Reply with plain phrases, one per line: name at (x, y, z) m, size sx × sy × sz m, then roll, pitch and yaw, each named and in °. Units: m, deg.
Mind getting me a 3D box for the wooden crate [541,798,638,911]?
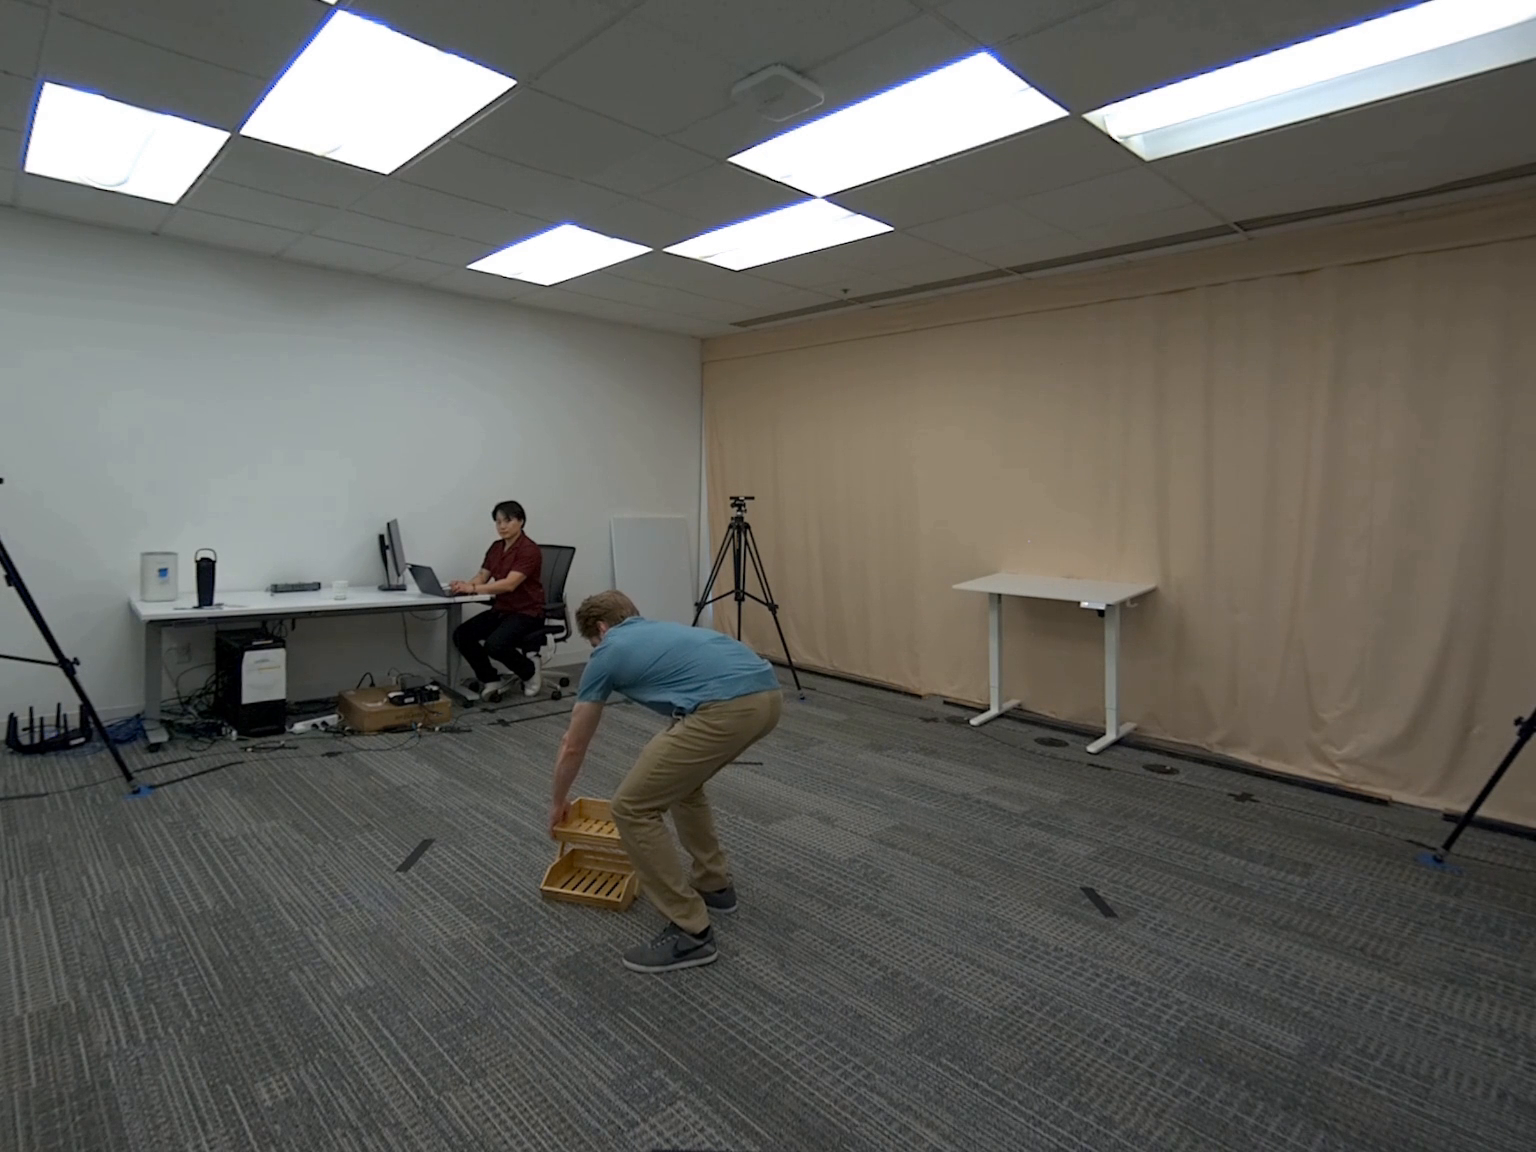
wooden crate at (-0.605, 0.975, 2.965) m, size 0.328 × 0.272 × 0.299 m, roll 3°, pitch 4°, yaw 14°
